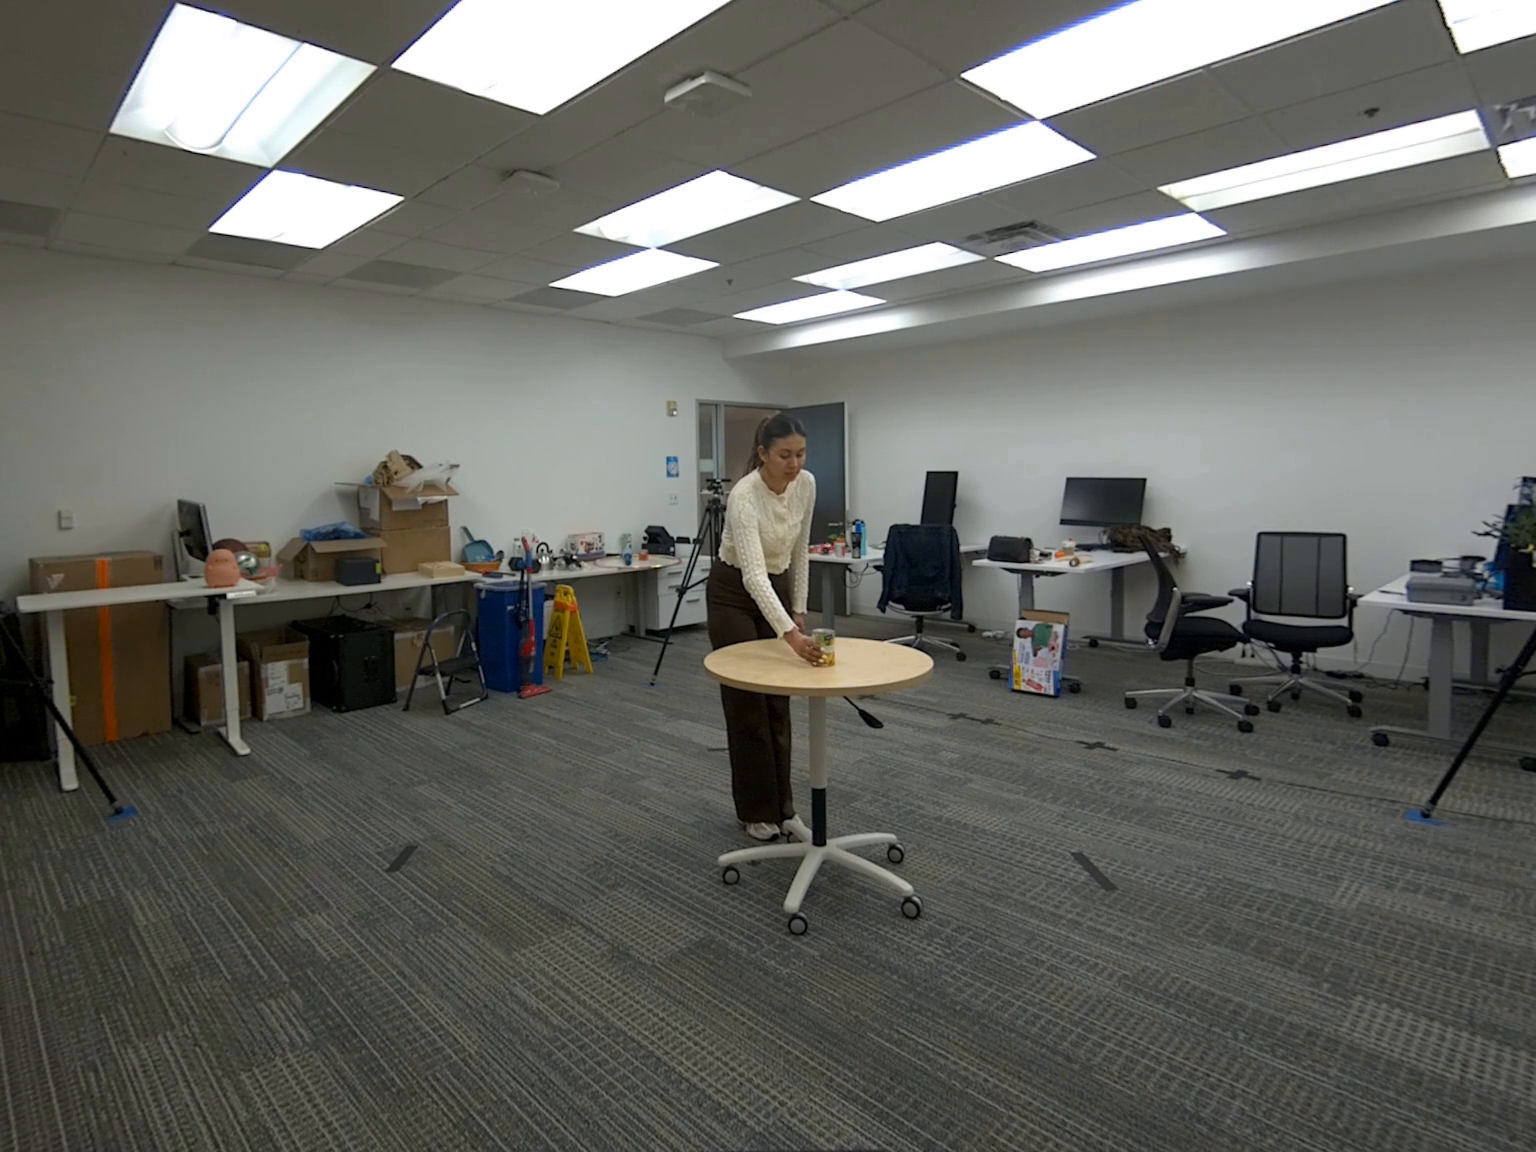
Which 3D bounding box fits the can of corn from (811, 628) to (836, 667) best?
[{"bbox_3d":[0.184,0.236,2.809,0.074,0.110,0.074,-2,4,-1],"label":"can of corn"}]
